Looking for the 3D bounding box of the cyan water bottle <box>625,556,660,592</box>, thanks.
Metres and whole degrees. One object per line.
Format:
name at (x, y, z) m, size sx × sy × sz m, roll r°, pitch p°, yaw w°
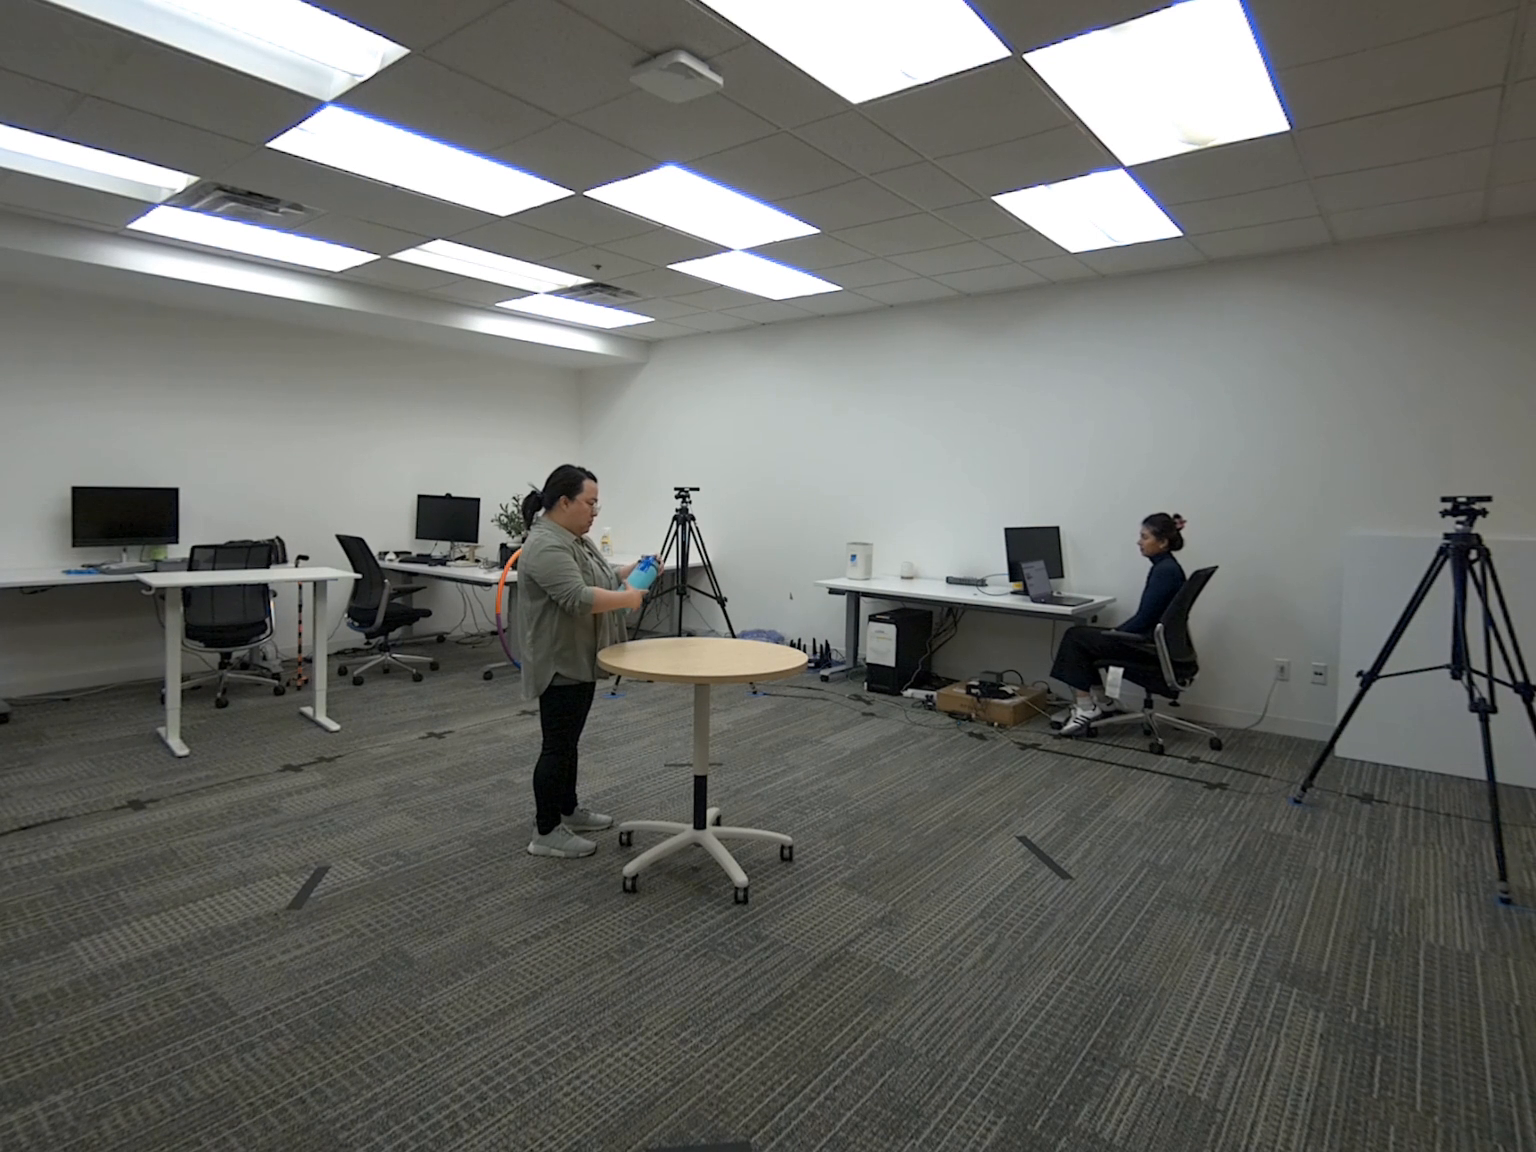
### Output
cyan water bottle at (-0.535, 0.027, 3.339) m, size 0.095 × 0.089 × 0.286 m, roll 3°, pitch 46°, yaw 31°
